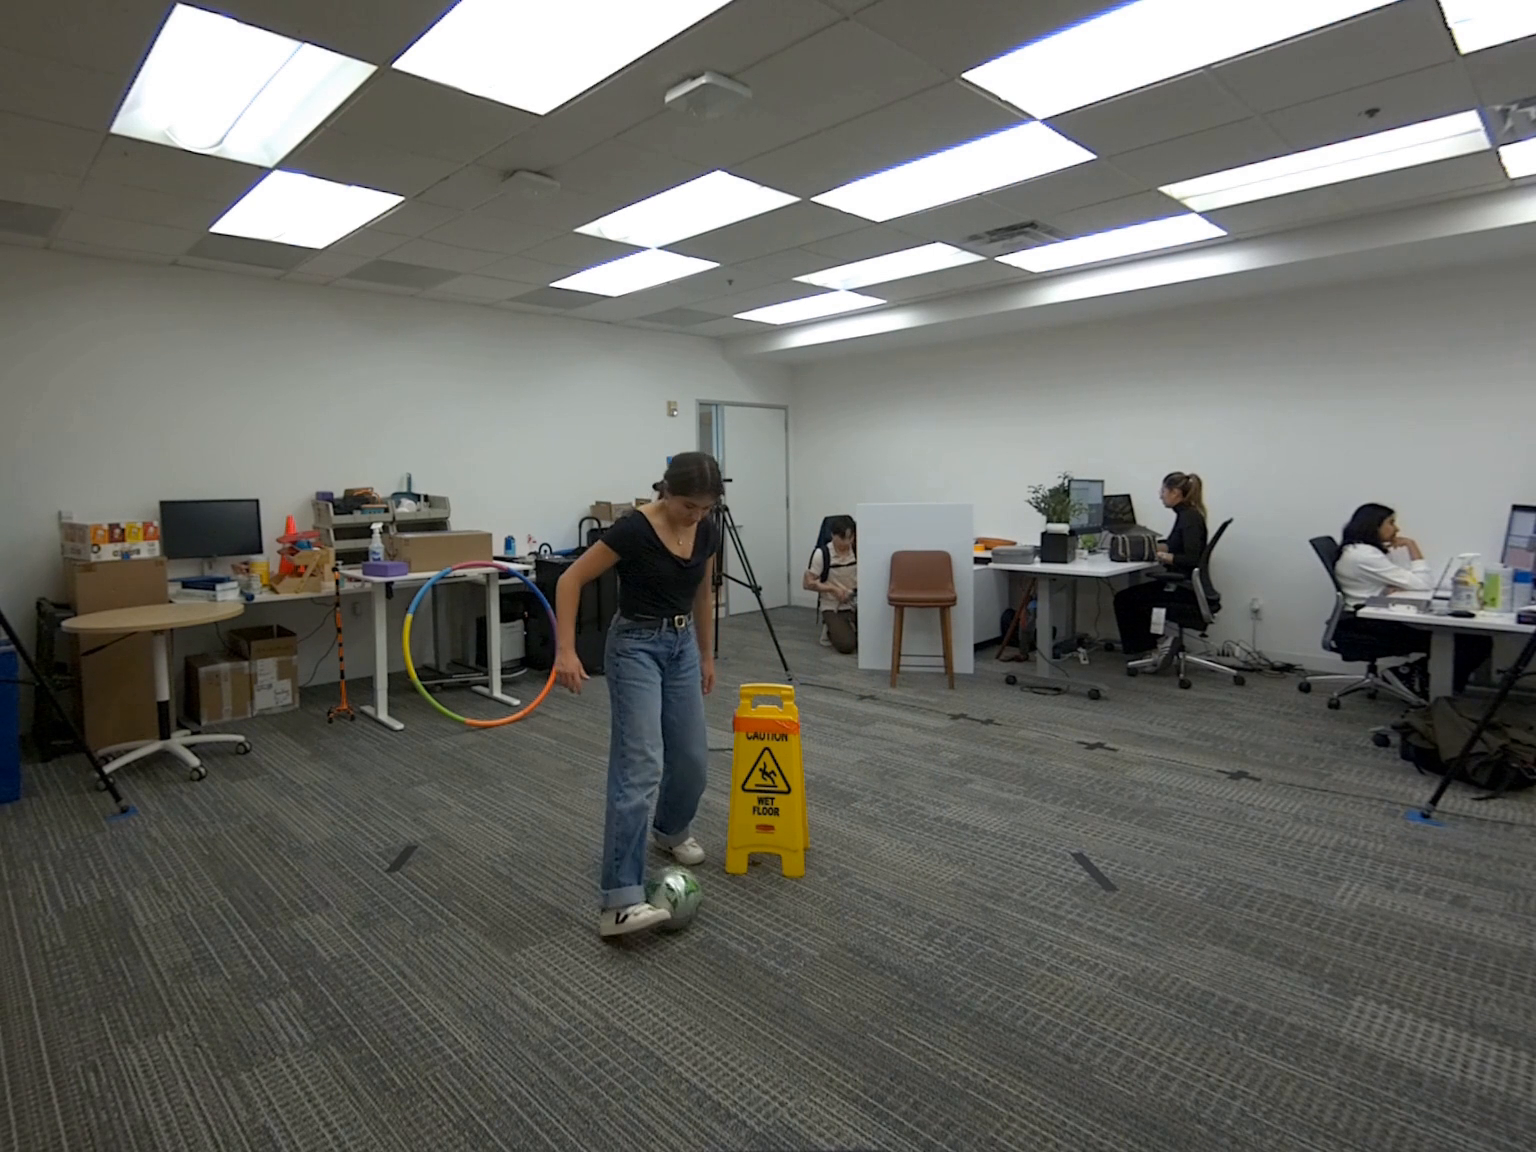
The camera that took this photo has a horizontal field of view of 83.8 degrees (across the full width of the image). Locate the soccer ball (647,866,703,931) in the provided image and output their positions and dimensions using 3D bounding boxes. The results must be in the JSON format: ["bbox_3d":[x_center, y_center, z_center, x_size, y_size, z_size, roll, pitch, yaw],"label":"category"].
[{"bbox_3d":[-0.299,1.006,2.689,0.187,0.187,0.188,-1,5,-2],"label":"soccer ball"}]
